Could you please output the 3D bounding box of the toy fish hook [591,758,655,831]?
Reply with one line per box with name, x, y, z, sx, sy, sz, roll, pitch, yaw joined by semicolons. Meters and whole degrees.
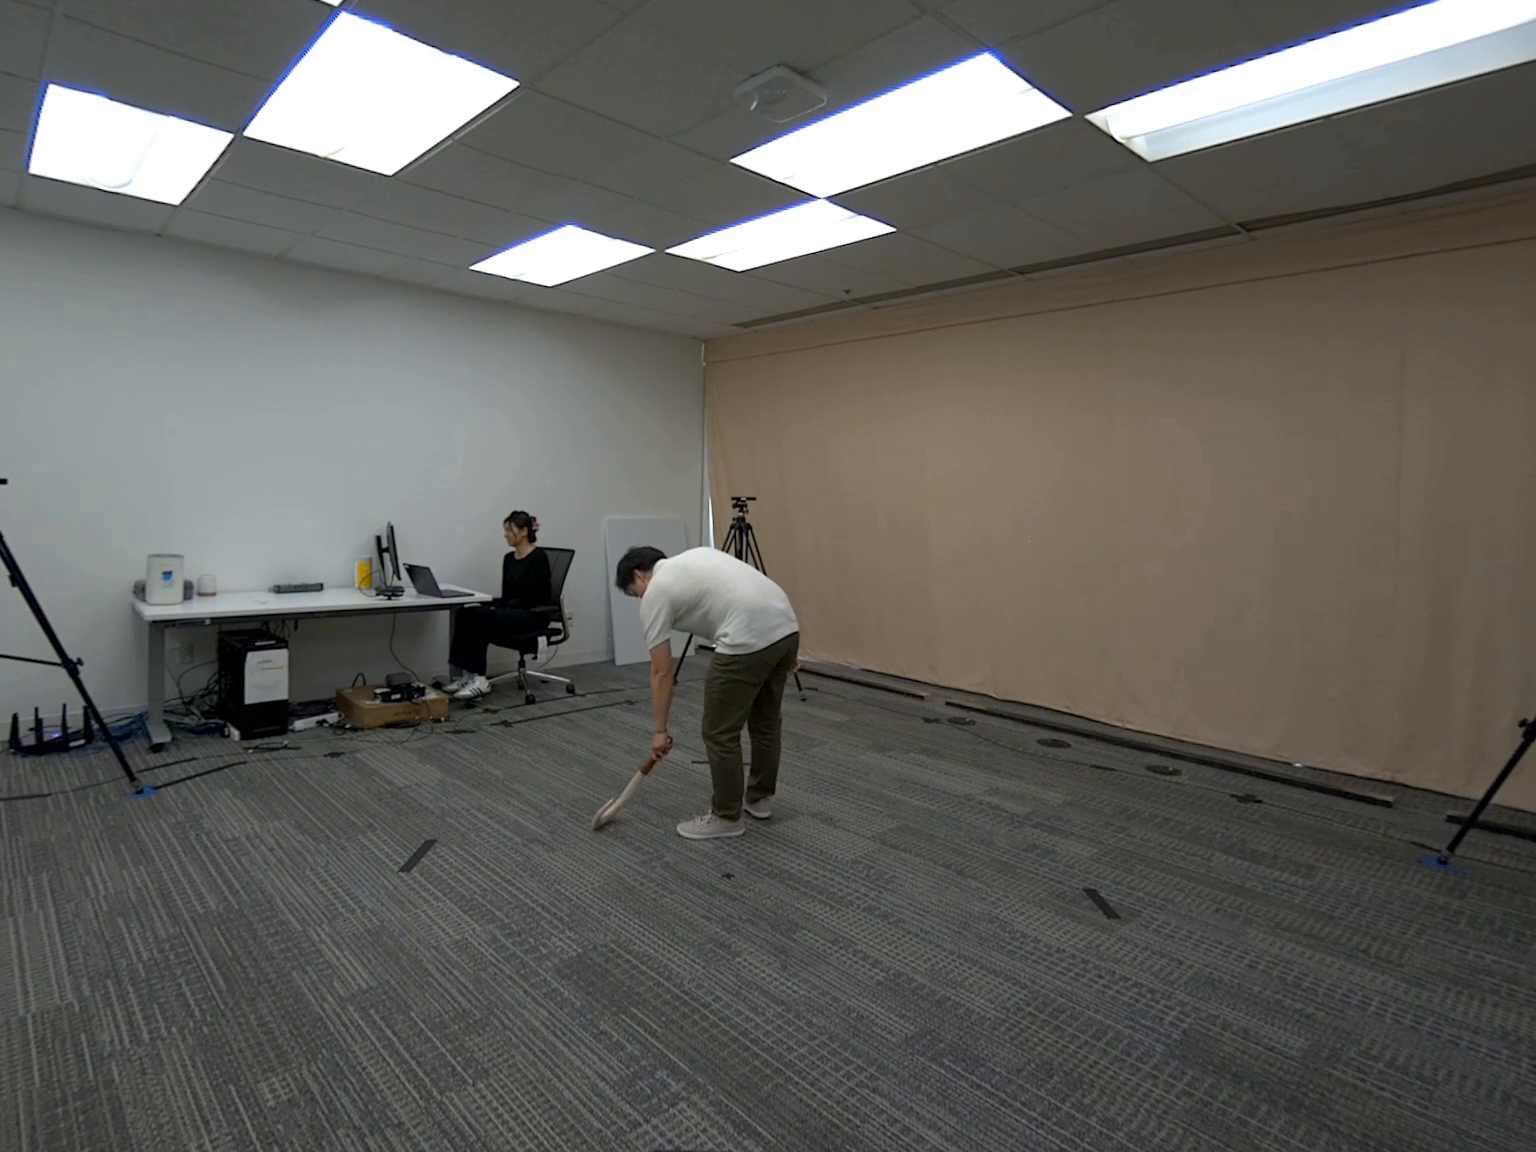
toy fish hook;-0.566;0.858;3.479;0.049;0.506;0.222;41;14;9
